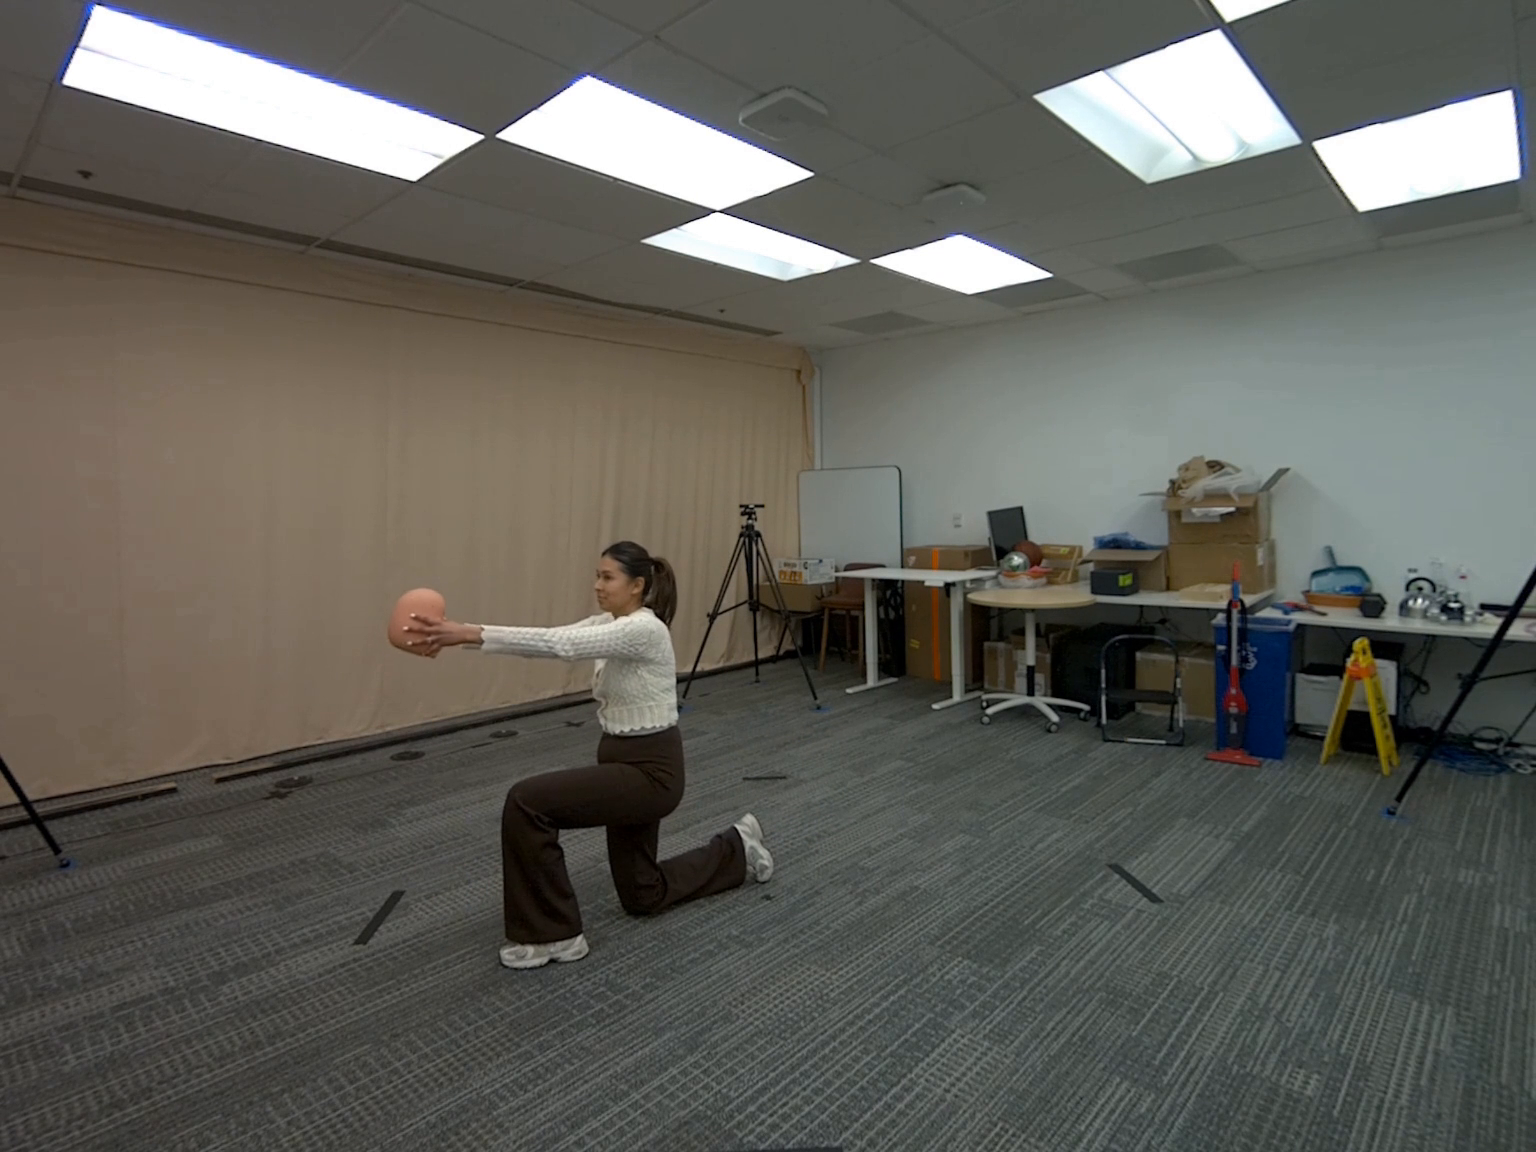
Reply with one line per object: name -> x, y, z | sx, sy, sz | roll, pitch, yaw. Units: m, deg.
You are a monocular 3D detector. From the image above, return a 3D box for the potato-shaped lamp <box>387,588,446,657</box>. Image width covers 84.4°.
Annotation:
potato-shaped lamp -> -1.041, 0.142, 2.521 | 0.168, 0.198, 0.167 | 22, -7, -16
